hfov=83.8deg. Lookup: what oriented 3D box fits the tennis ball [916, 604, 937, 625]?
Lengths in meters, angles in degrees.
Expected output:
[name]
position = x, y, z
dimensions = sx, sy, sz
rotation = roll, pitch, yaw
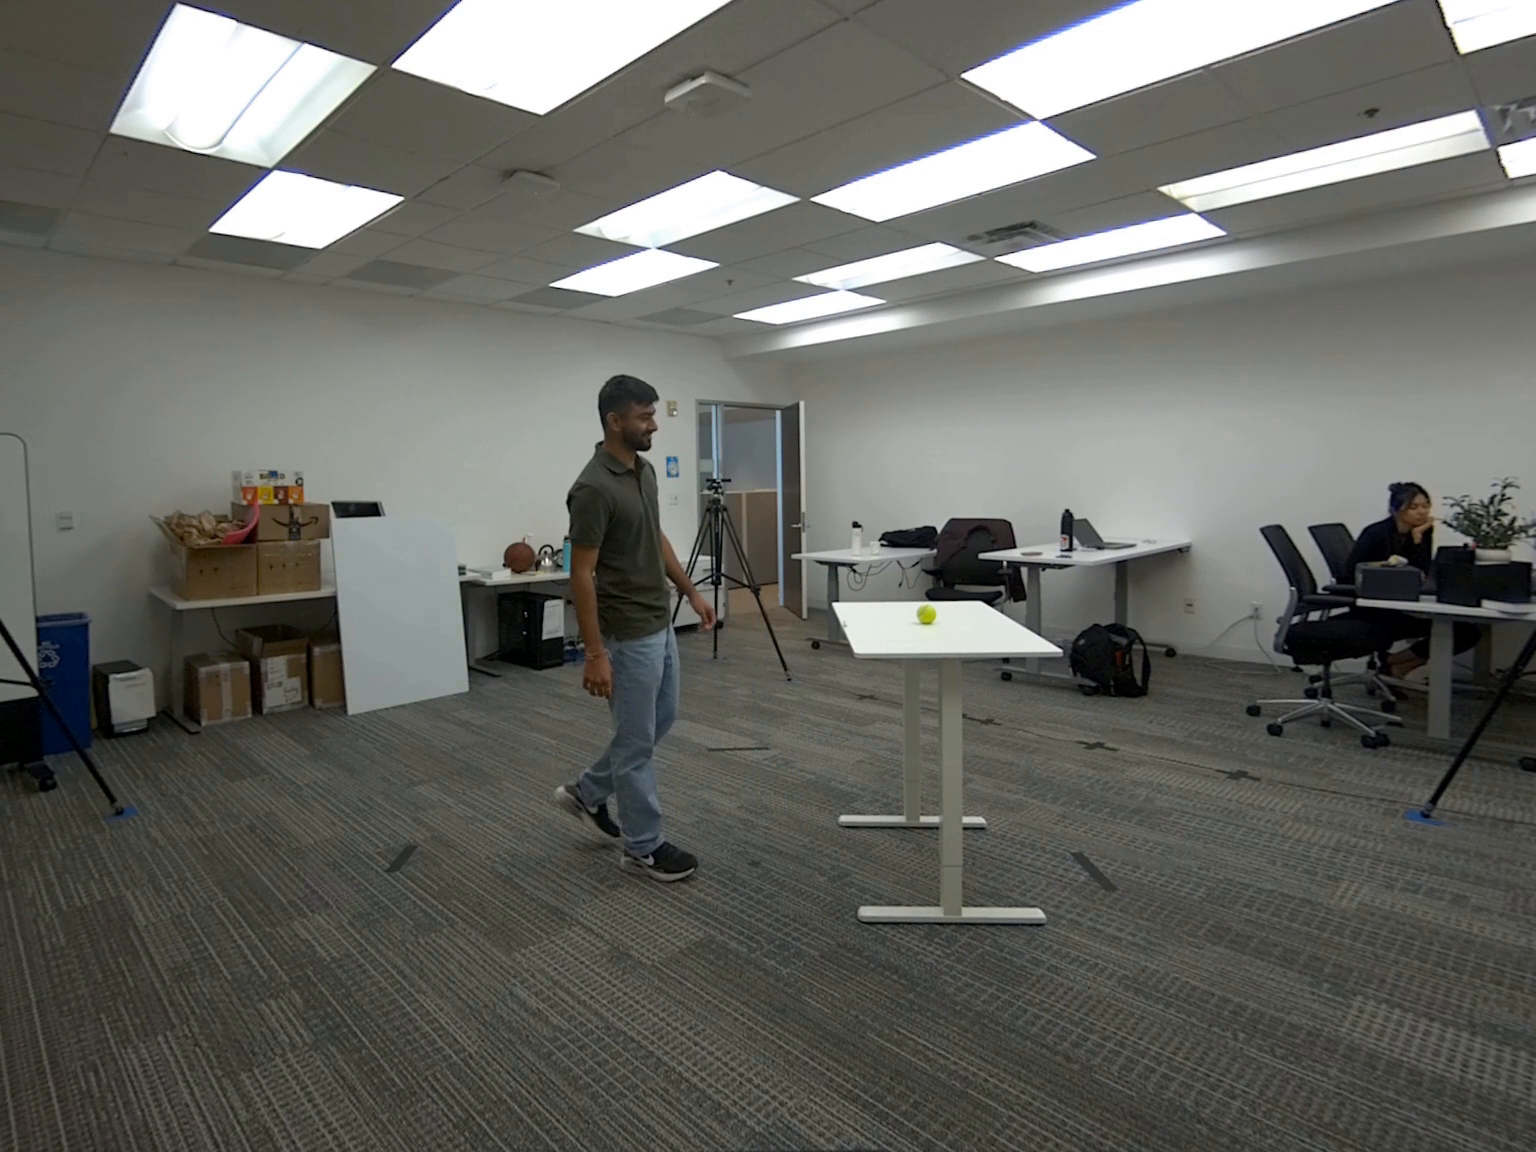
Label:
[tennis ball]
position = 0.545, 0.134, 2.979
dimensions = 0.066, 0.066, 0.067
rotation = -1, 5, -2
